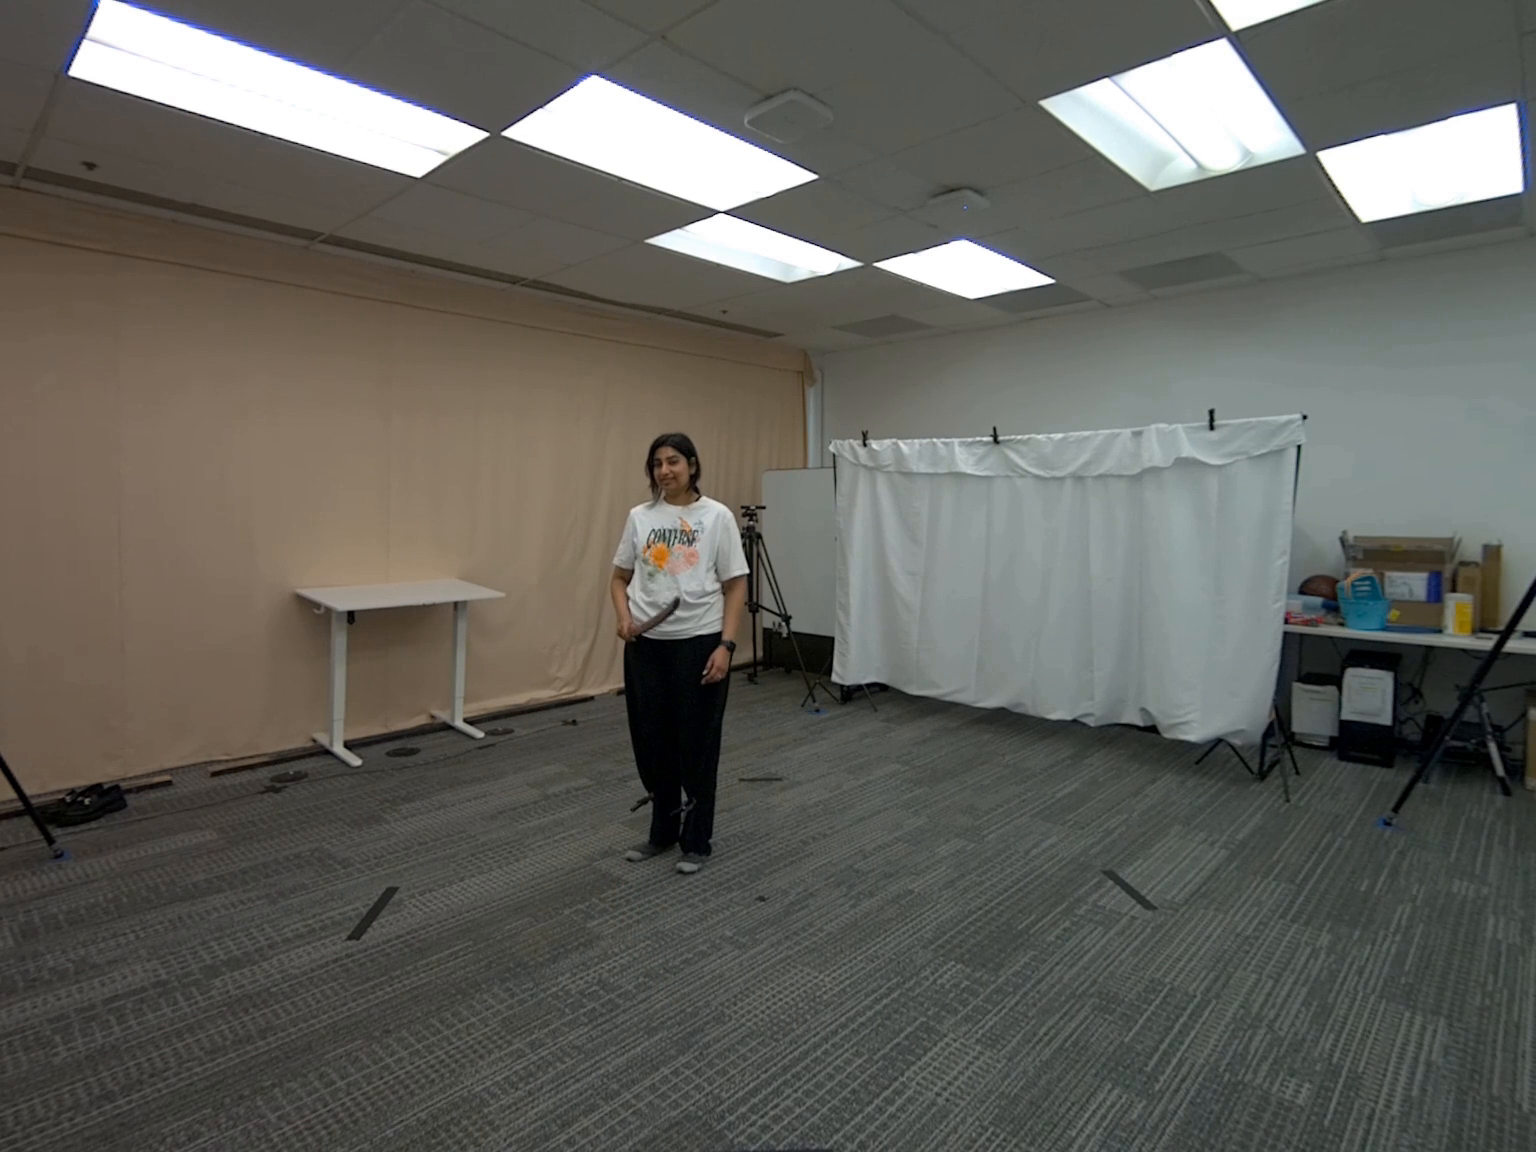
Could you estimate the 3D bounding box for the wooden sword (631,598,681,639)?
[{"bbox_3d":[-0.410,0.160,2.745,0.051,0.024,1.033,41,-17,-6],"label":"wooden sword"}]
